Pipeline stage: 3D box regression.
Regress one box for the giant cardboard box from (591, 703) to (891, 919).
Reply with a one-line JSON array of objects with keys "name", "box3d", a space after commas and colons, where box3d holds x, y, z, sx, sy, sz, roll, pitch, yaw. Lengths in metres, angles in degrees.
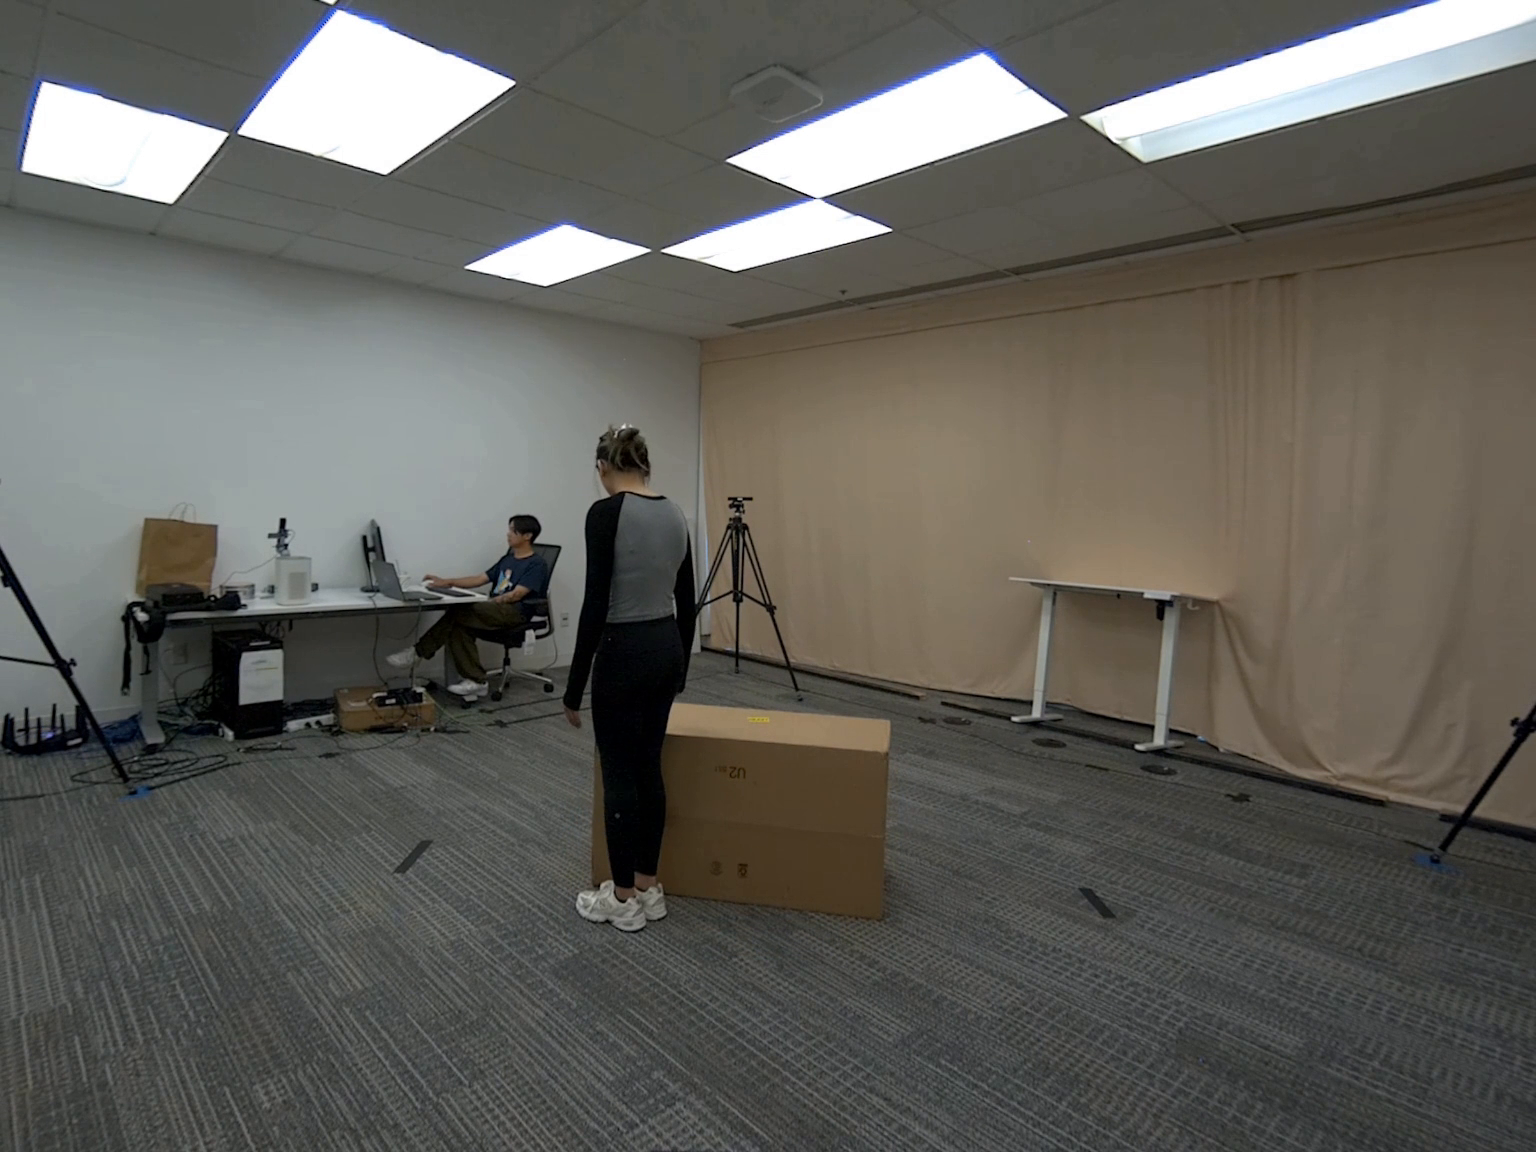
[{"name": "giant cardboard box", "box3d": [-0.085, 0.822, 3.088, 1.035, 0.576, 0.423, 2, 4, 11]}]
